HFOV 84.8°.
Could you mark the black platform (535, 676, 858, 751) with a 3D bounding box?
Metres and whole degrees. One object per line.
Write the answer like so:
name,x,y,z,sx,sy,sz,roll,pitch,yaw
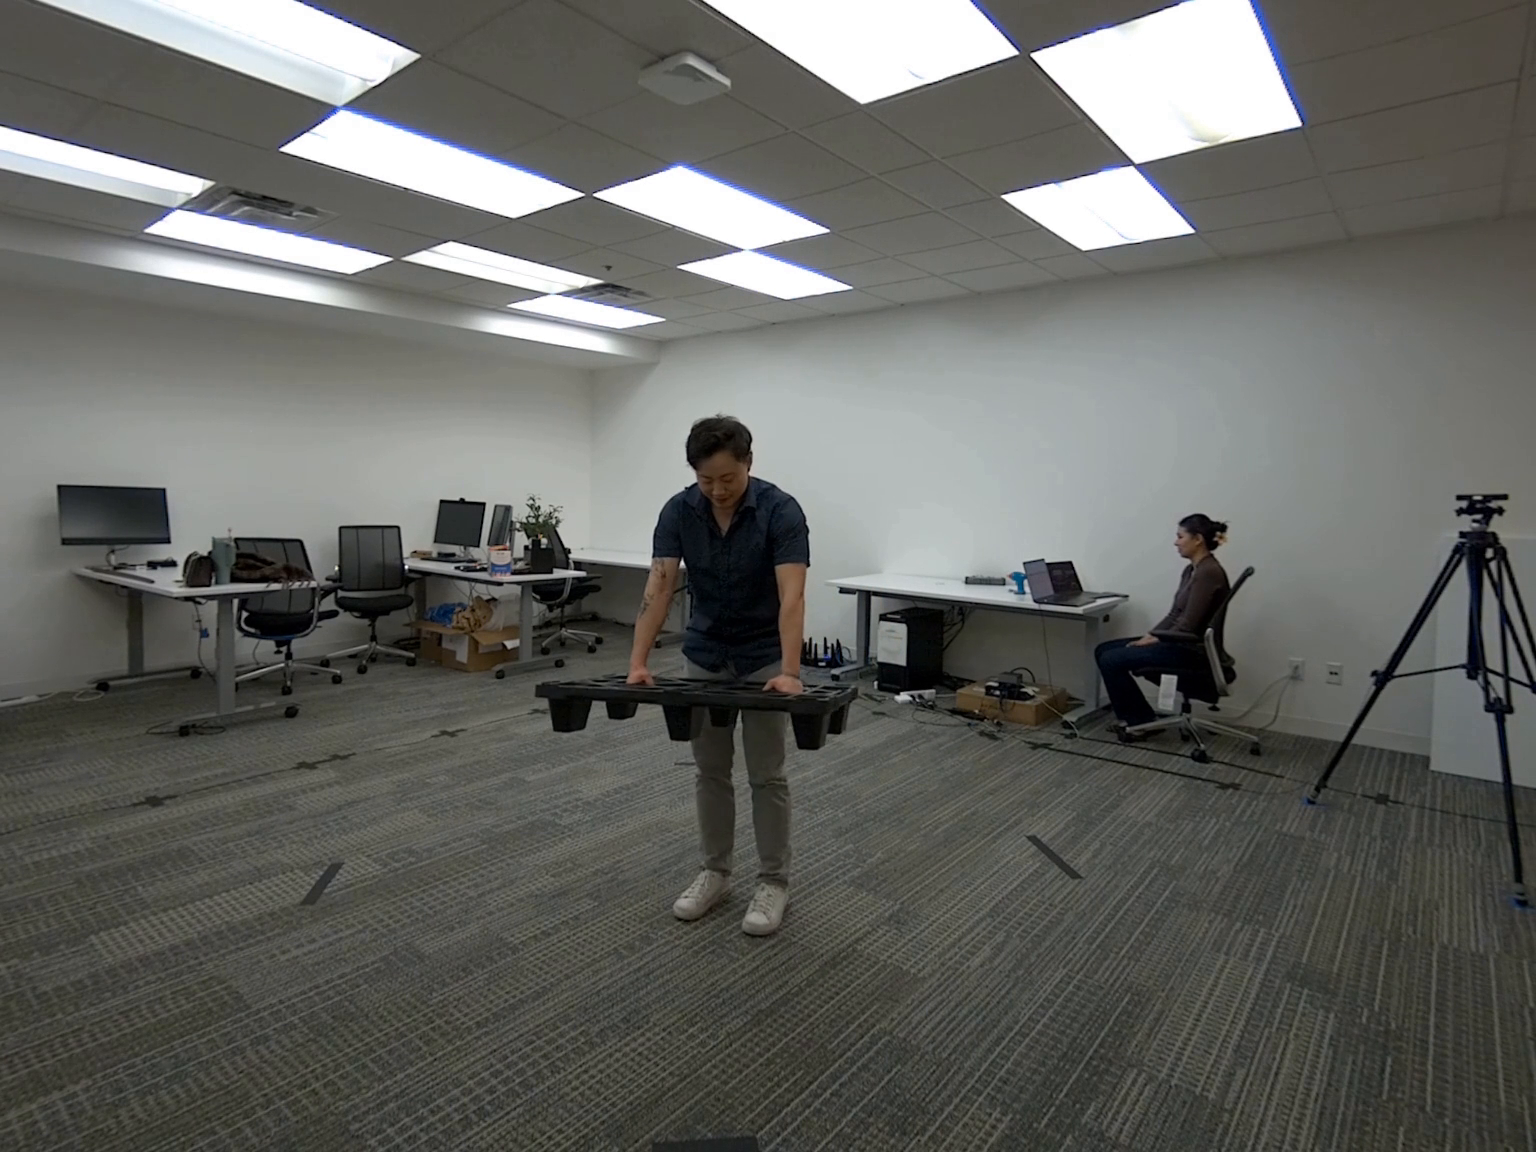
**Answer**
black platform,-0.189,0.378,2.453,0.820,0.144,0.591,0,-4,16
